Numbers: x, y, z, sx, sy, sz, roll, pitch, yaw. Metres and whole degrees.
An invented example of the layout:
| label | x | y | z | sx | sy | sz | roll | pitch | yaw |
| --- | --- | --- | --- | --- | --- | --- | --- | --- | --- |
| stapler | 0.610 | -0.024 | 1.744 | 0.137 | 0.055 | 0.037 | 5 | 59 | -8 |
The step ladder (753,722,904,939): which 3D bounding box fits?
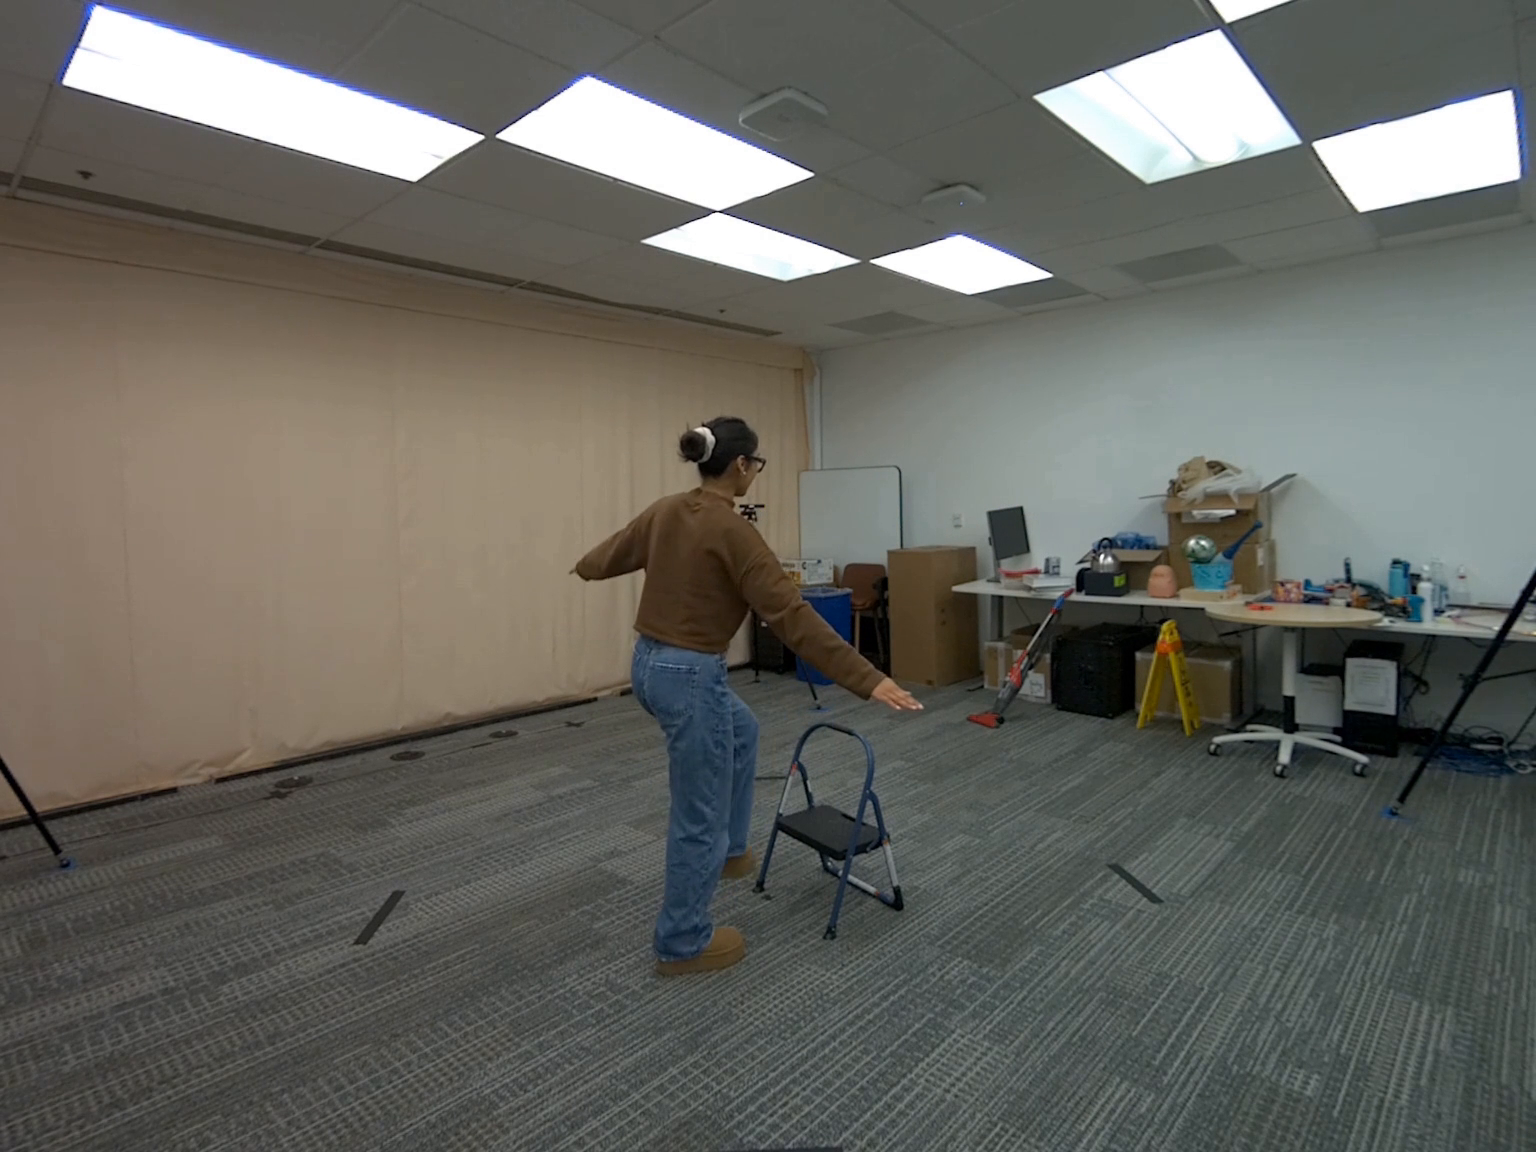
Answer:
| label | x | y | z | sx | sy | sz | roll | pitch | yaw |
| --- | --- | --- | --- | --- | --- | --- | --- | --- | --- |
| step ladder | 0.207 | 0.835 | 2.939 | 0.339 | 0.605 | 0.444 | -3 | 4 | -35 |
